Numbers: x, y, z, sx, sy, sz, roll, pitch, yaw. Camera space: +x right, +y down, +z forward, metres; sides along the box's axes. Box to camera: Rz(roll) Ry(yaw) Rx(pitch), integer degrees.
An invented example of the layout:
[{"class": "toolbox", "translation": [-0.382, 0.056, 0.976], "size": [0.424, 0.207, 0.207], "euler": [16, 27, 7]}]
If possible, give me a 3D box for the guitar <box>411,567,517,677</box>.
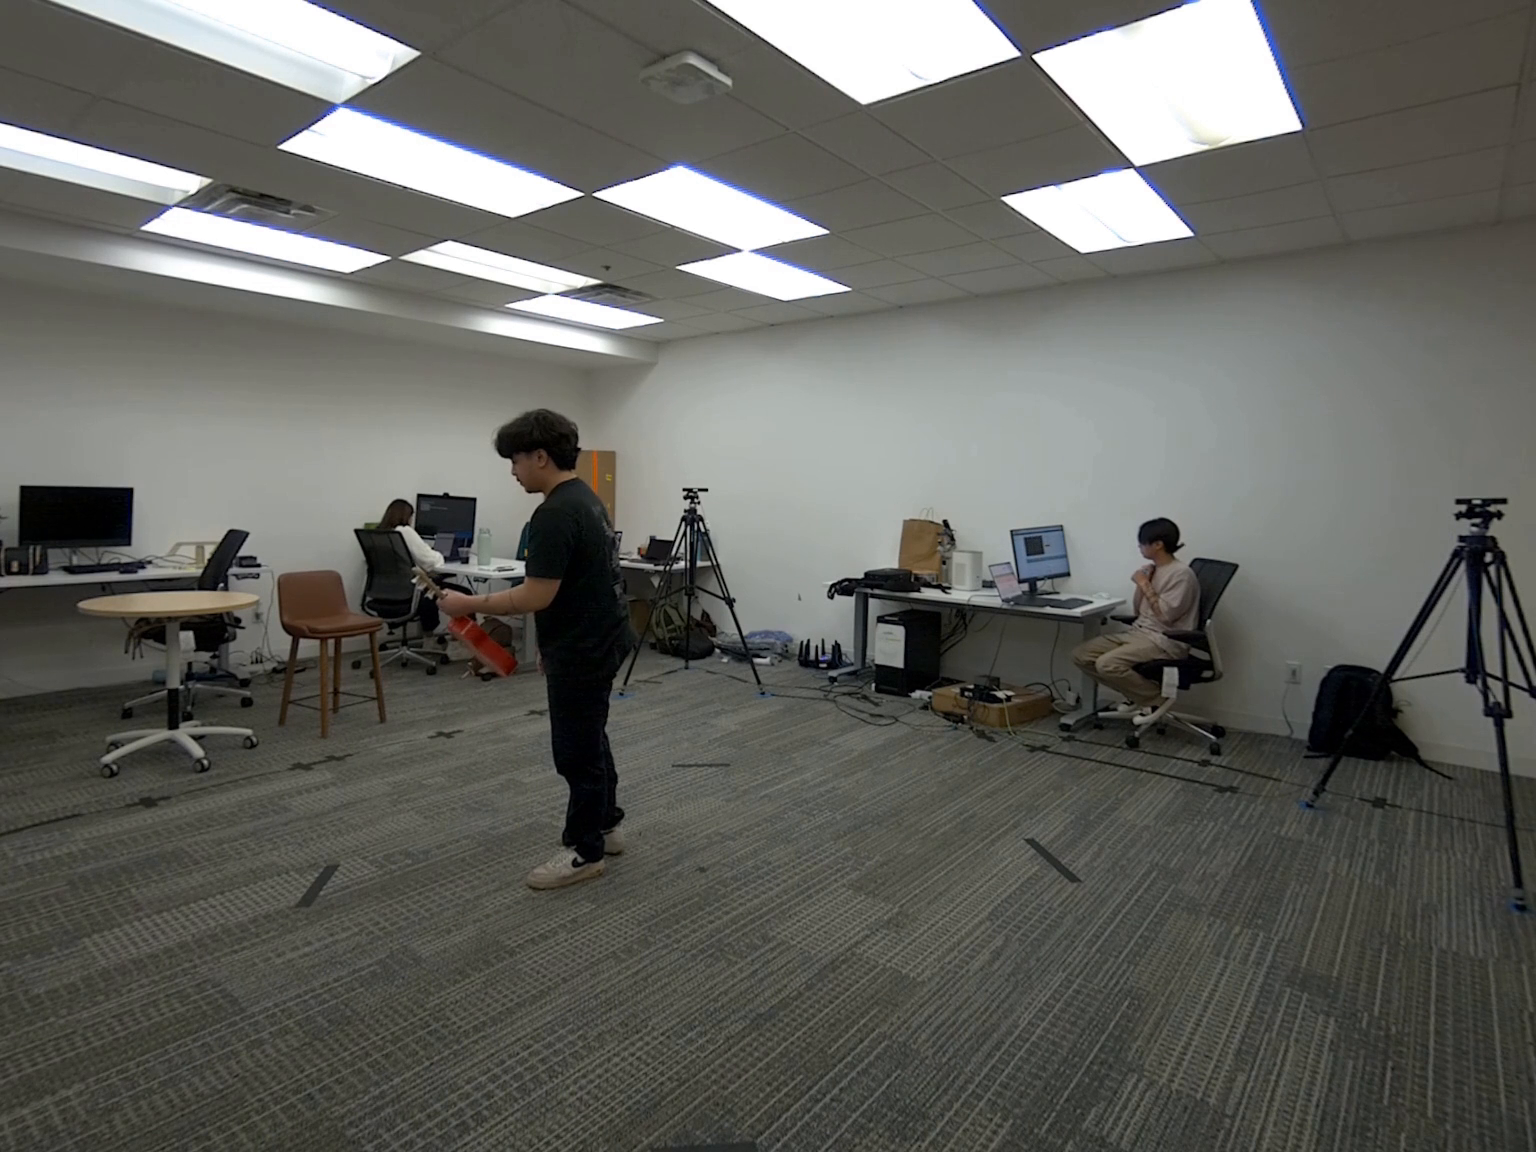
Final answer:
[{"class": "guitar", "translation": [-1.072, 0.158, 2.914], "size": [0.071, 0.484, 0.198], "euler": [-50, 24, -23]}]
